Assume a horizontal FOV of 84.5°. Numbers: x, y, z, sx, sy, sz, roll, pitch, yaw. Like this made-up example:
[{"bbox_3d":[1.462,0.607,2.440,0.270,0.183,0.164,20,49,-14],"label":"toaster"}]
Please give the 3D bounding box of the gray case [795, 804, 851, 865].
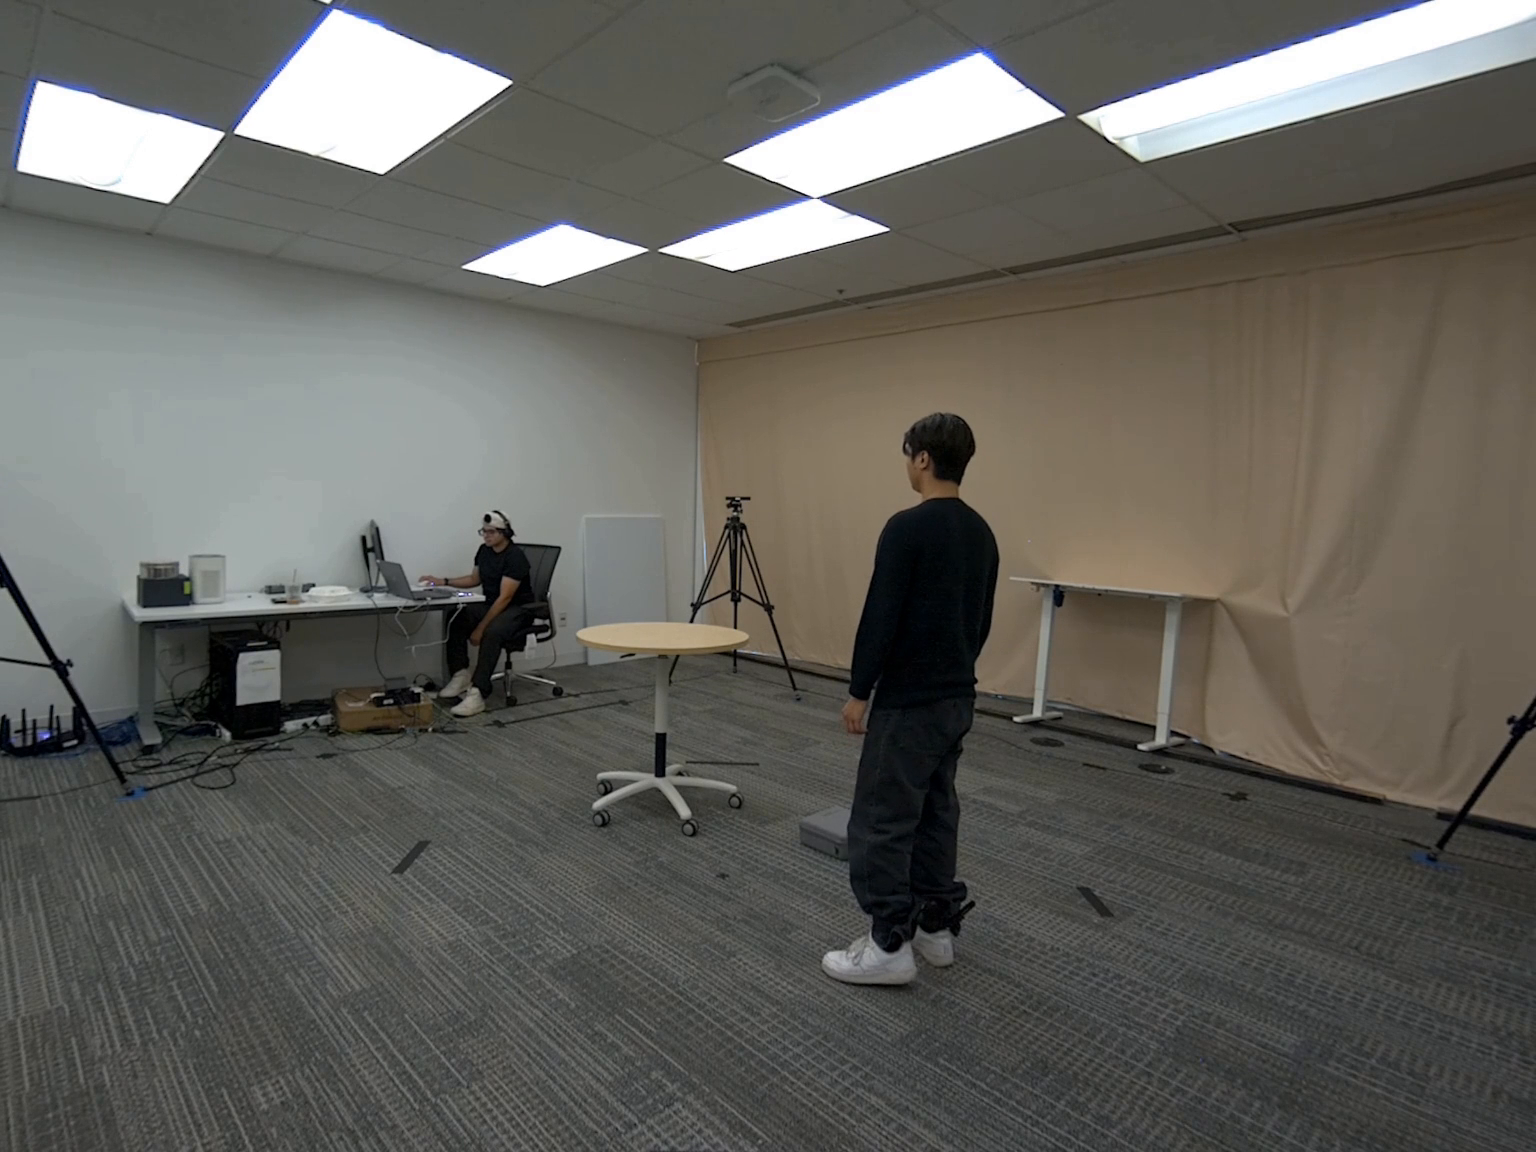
[{"bbox_3d":[0.295,1.033,3.410,0.251,0.104,0.267,-1,5,-44],"label":"gray case"}]
